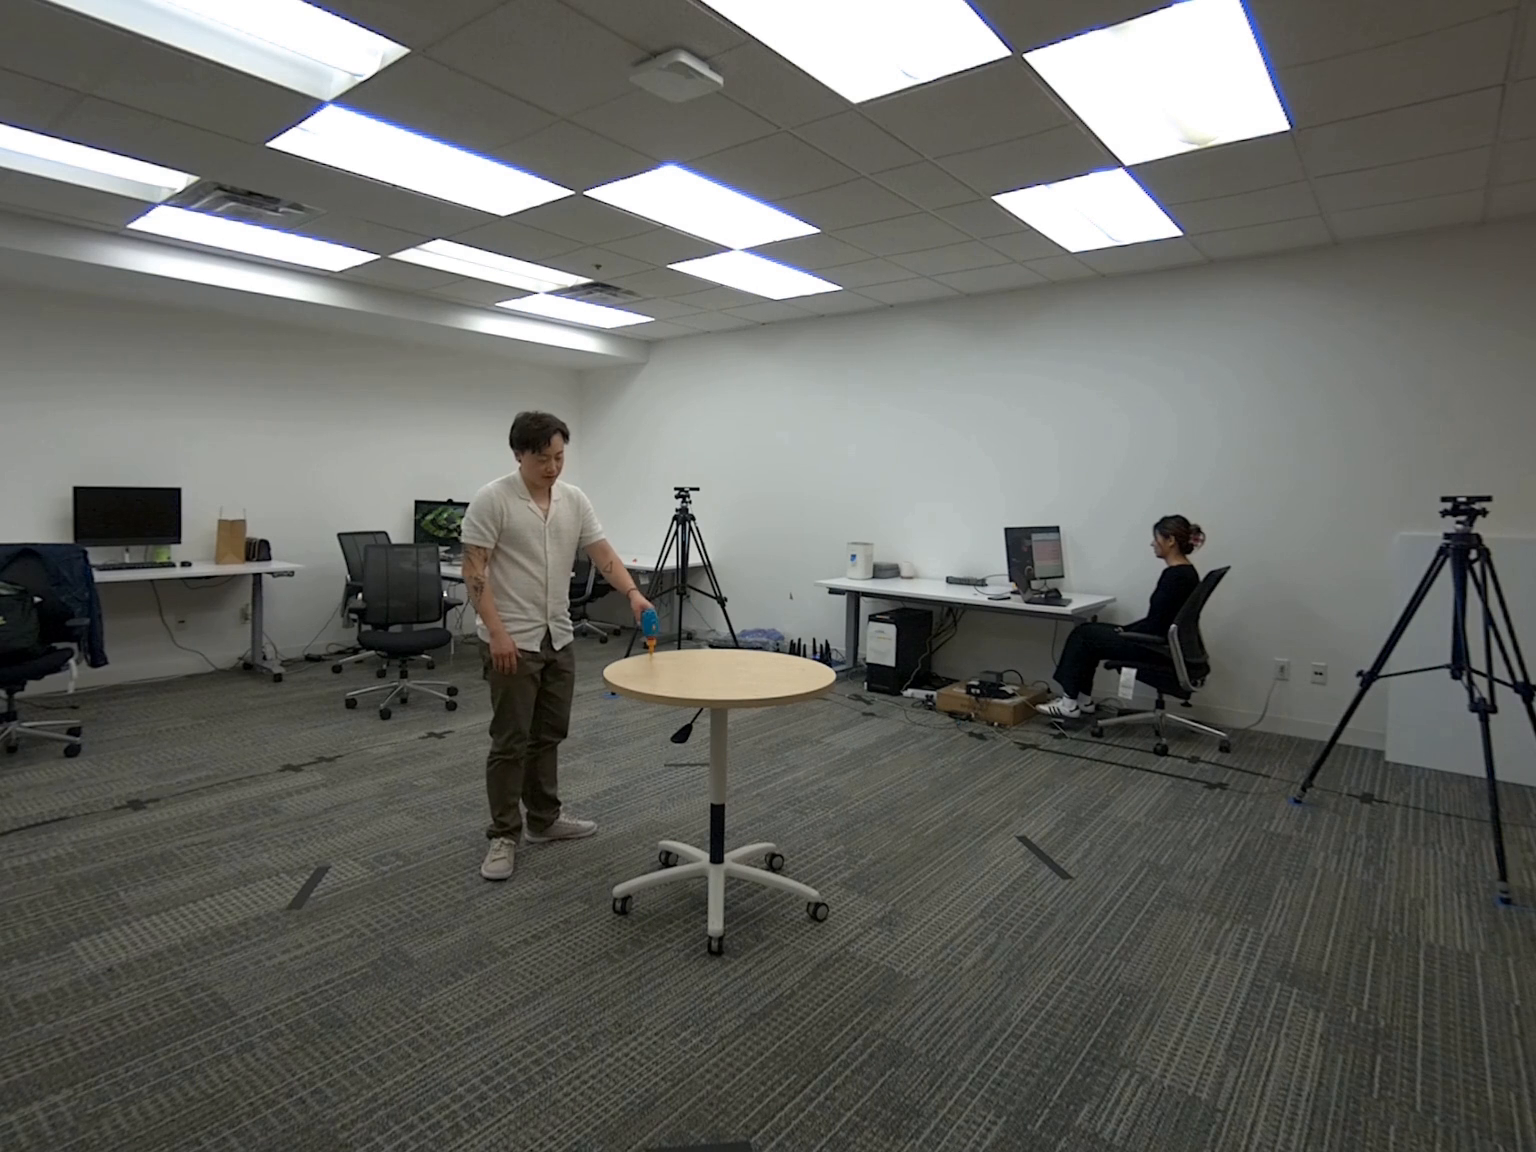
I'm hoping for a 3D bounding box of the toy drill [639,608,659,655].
[{"bbox_3d":[-0.469,0.192,3.112,0.060,0.169,0.150,-8,6,-24],"label":"toy drill"}]
